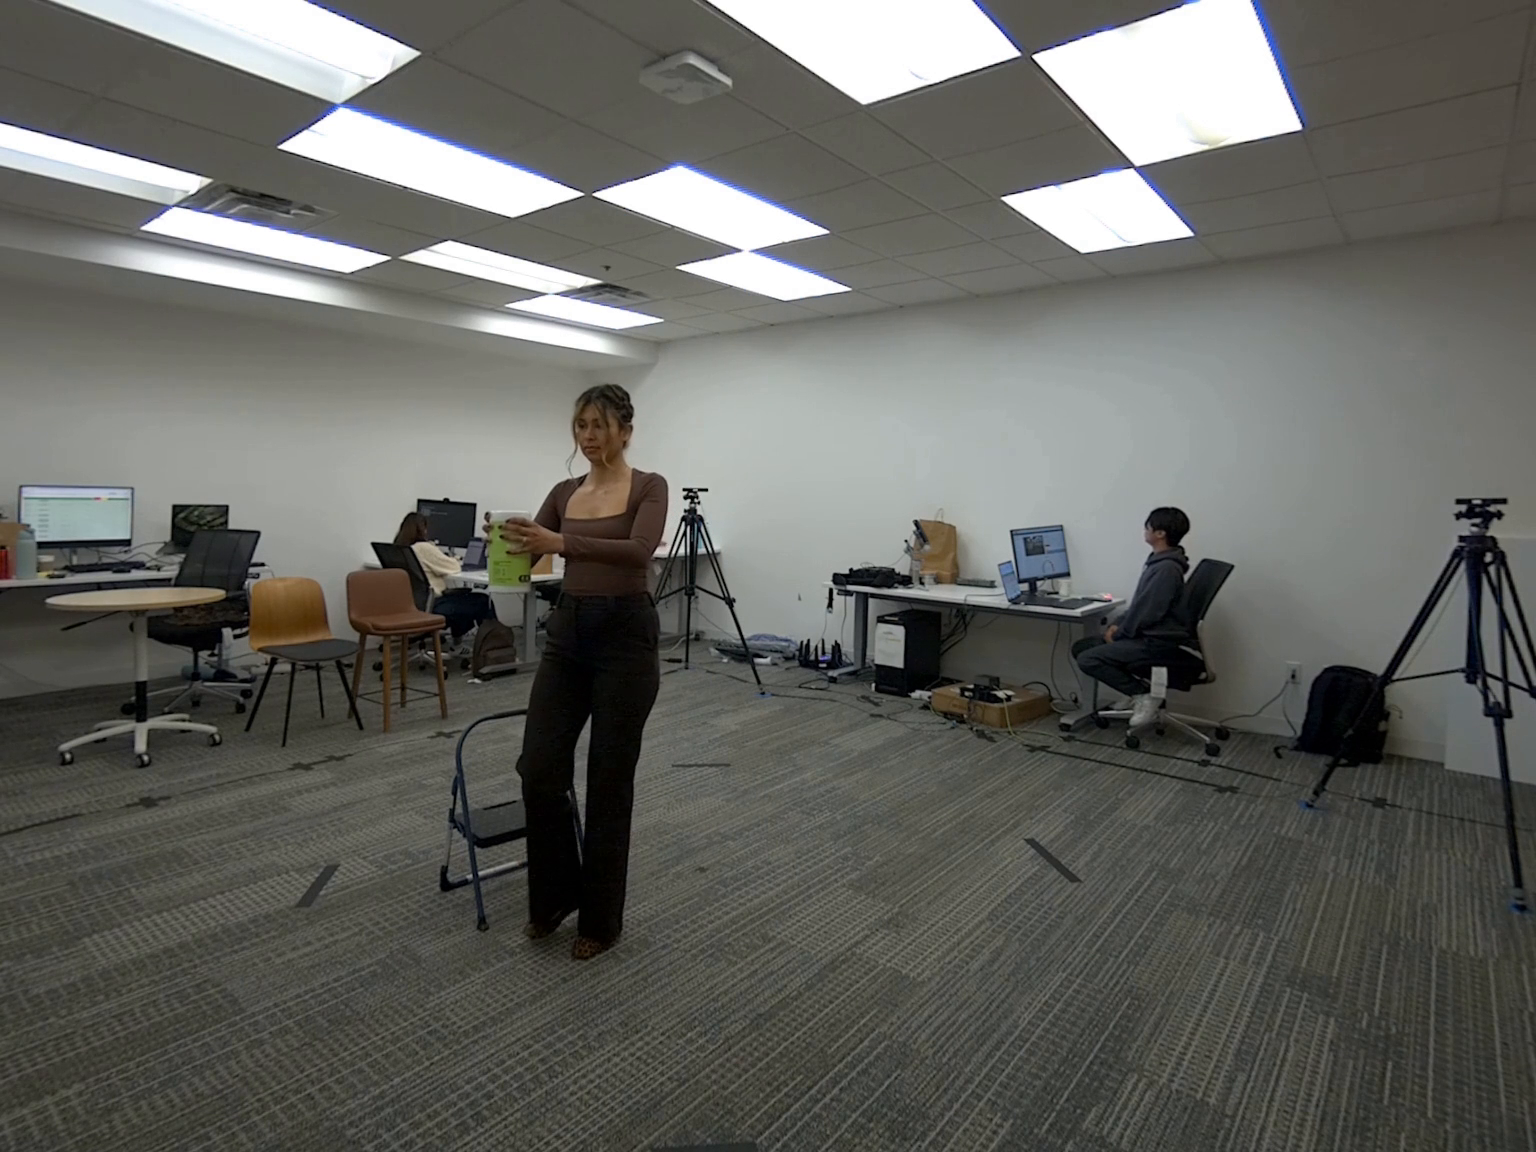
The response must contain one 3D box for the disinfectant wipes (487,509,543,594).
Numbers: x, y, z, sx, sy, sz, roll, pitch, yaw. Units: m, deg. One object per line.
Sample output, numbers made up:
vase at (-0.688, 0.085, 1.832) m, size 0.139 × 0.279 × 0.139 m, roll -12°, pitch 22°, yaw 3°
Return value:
disinfectant wipes at (-0.672, -0.066, 2.239) m, size 0.118 × 0.218 × 0.118 m, roll 0°, pitch -1°, yaw -2°
